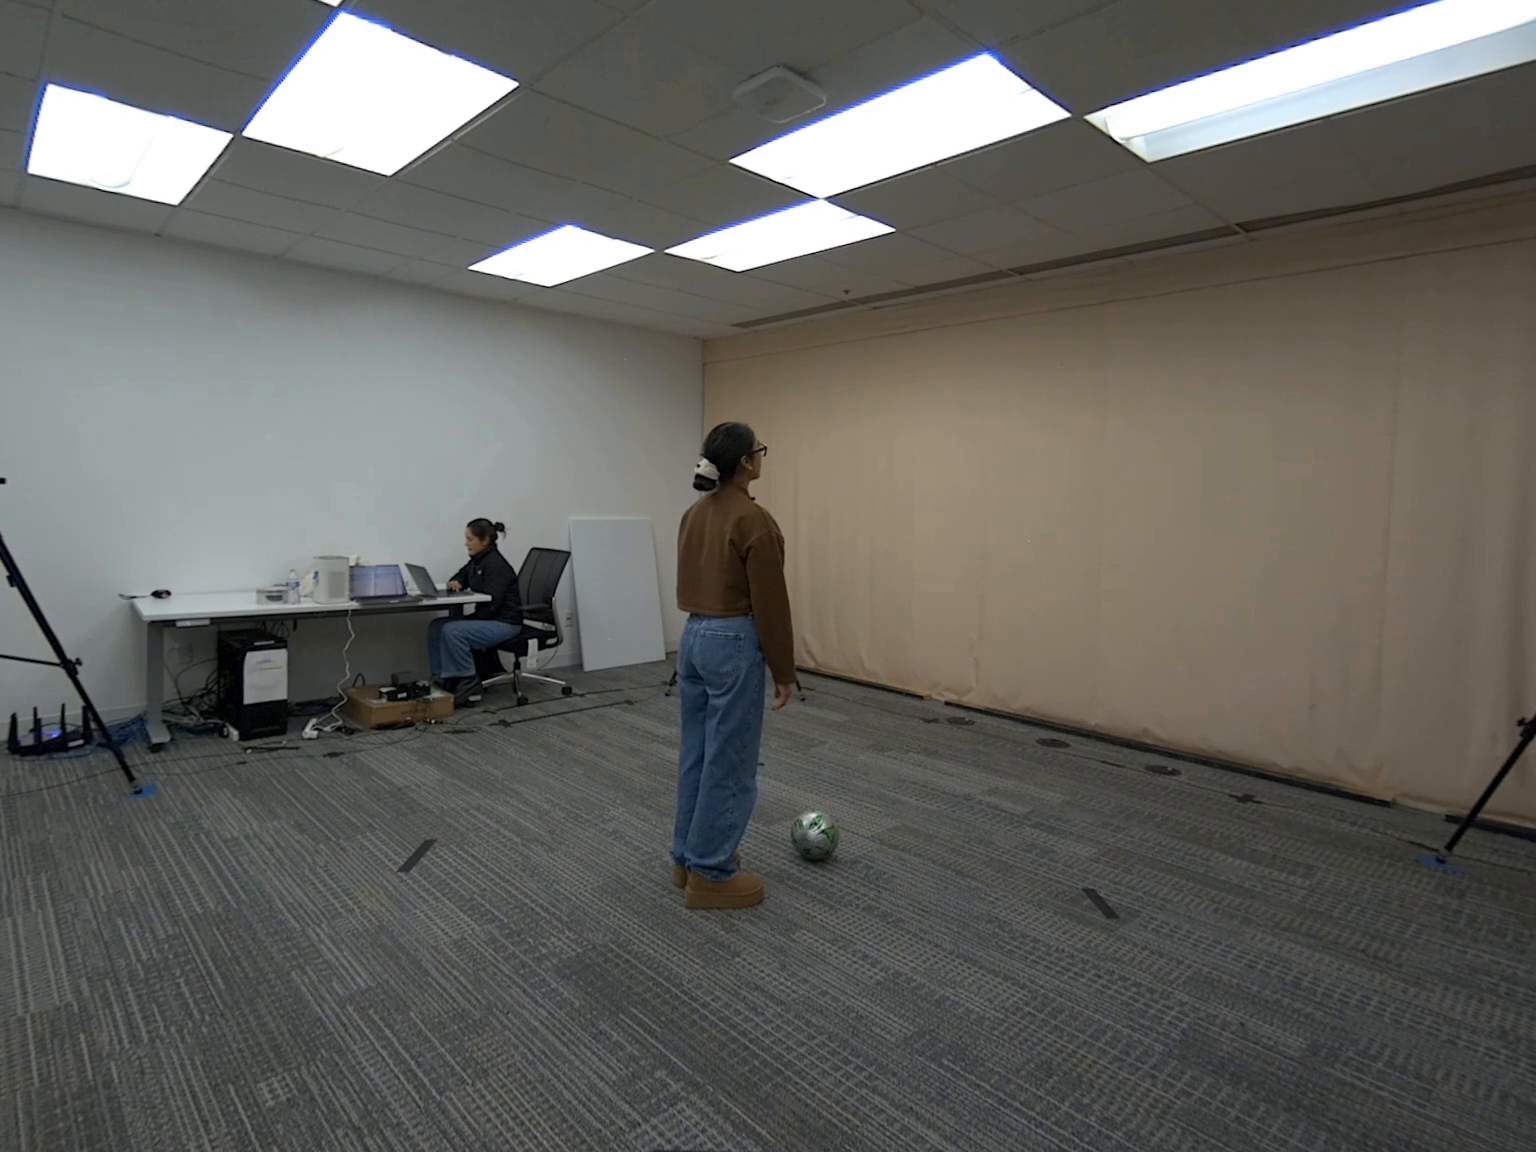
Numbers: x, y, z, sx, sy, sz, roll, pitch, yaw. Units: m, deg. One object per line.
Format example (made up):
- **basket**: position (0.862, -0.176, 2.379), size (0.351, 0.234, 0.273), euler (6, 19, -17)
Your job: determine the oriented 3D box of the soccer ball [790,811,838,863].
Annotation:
- **soccer ball**: position (0.174, 1.007, 3.273), size (0.187, 0.187, 0.188), euler (1, 4, -1)
